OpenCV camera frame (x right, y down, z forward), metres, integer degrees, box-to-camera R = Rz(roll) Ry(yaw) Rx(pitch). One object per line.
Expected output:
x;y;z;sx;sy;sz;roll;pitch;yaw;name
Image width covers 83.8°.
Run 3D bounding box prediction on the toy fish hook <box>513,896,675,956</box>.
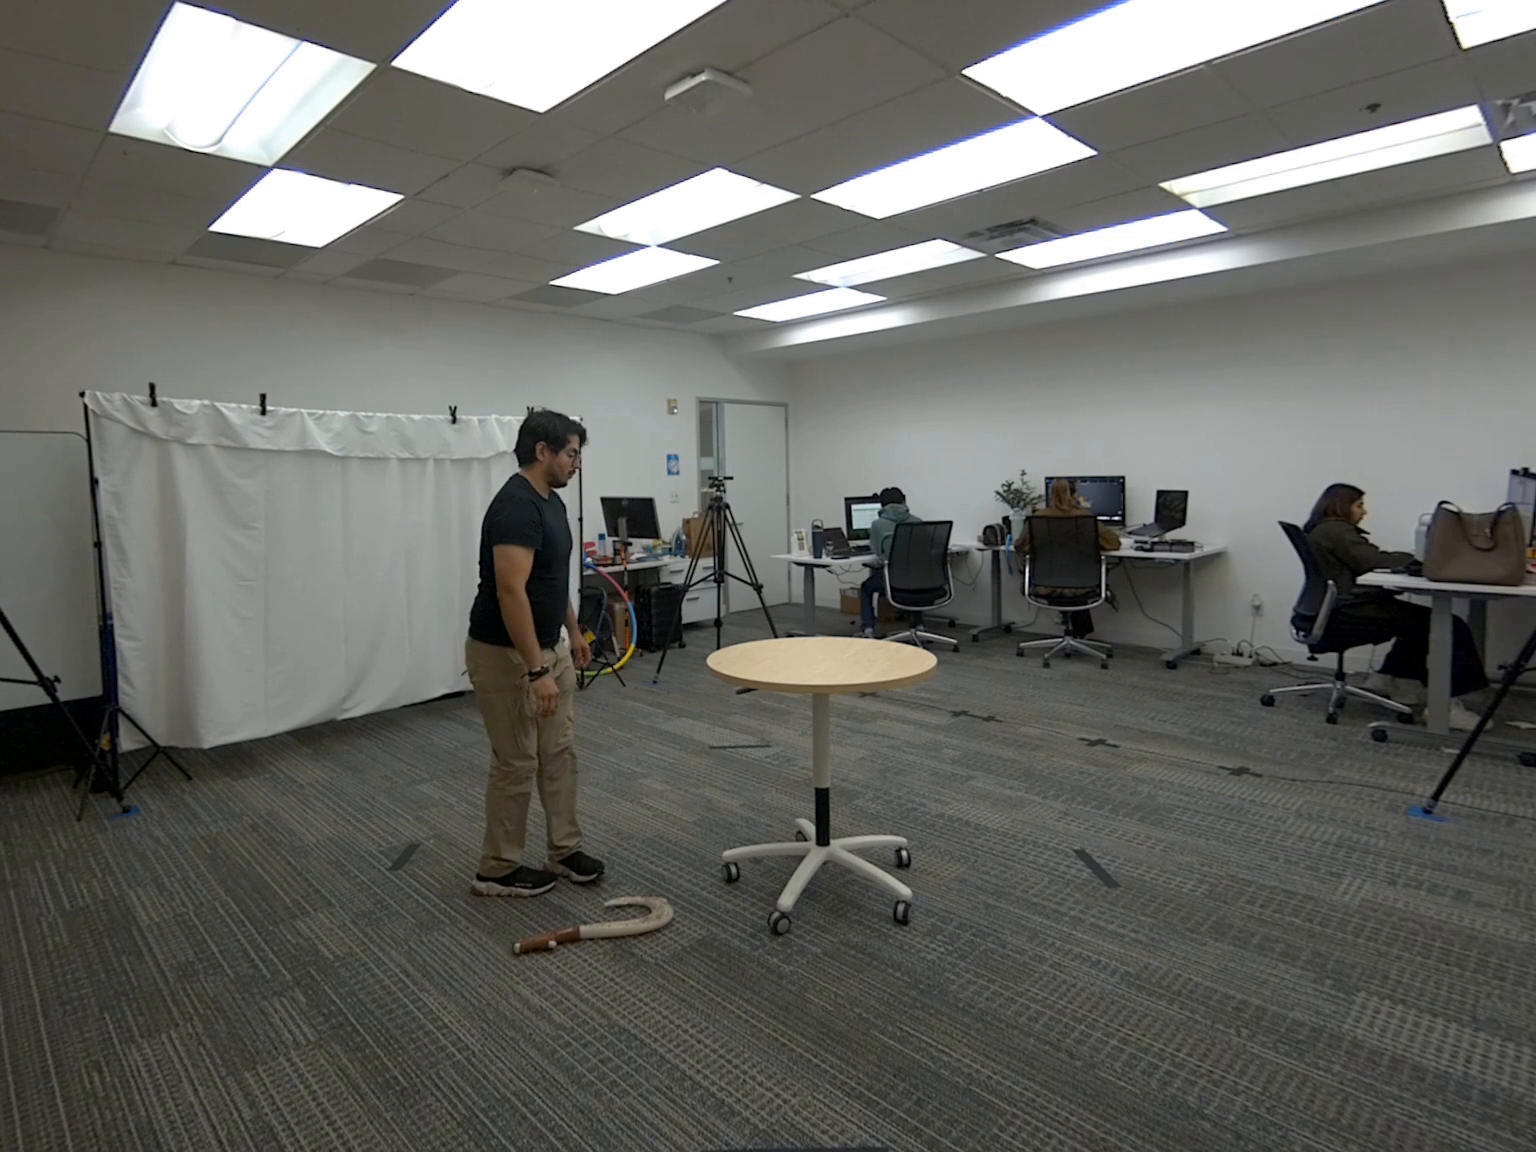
-0.545;1.087;2.666;0.497;0.048;0.229;-4;1;-22;toy fish hook
